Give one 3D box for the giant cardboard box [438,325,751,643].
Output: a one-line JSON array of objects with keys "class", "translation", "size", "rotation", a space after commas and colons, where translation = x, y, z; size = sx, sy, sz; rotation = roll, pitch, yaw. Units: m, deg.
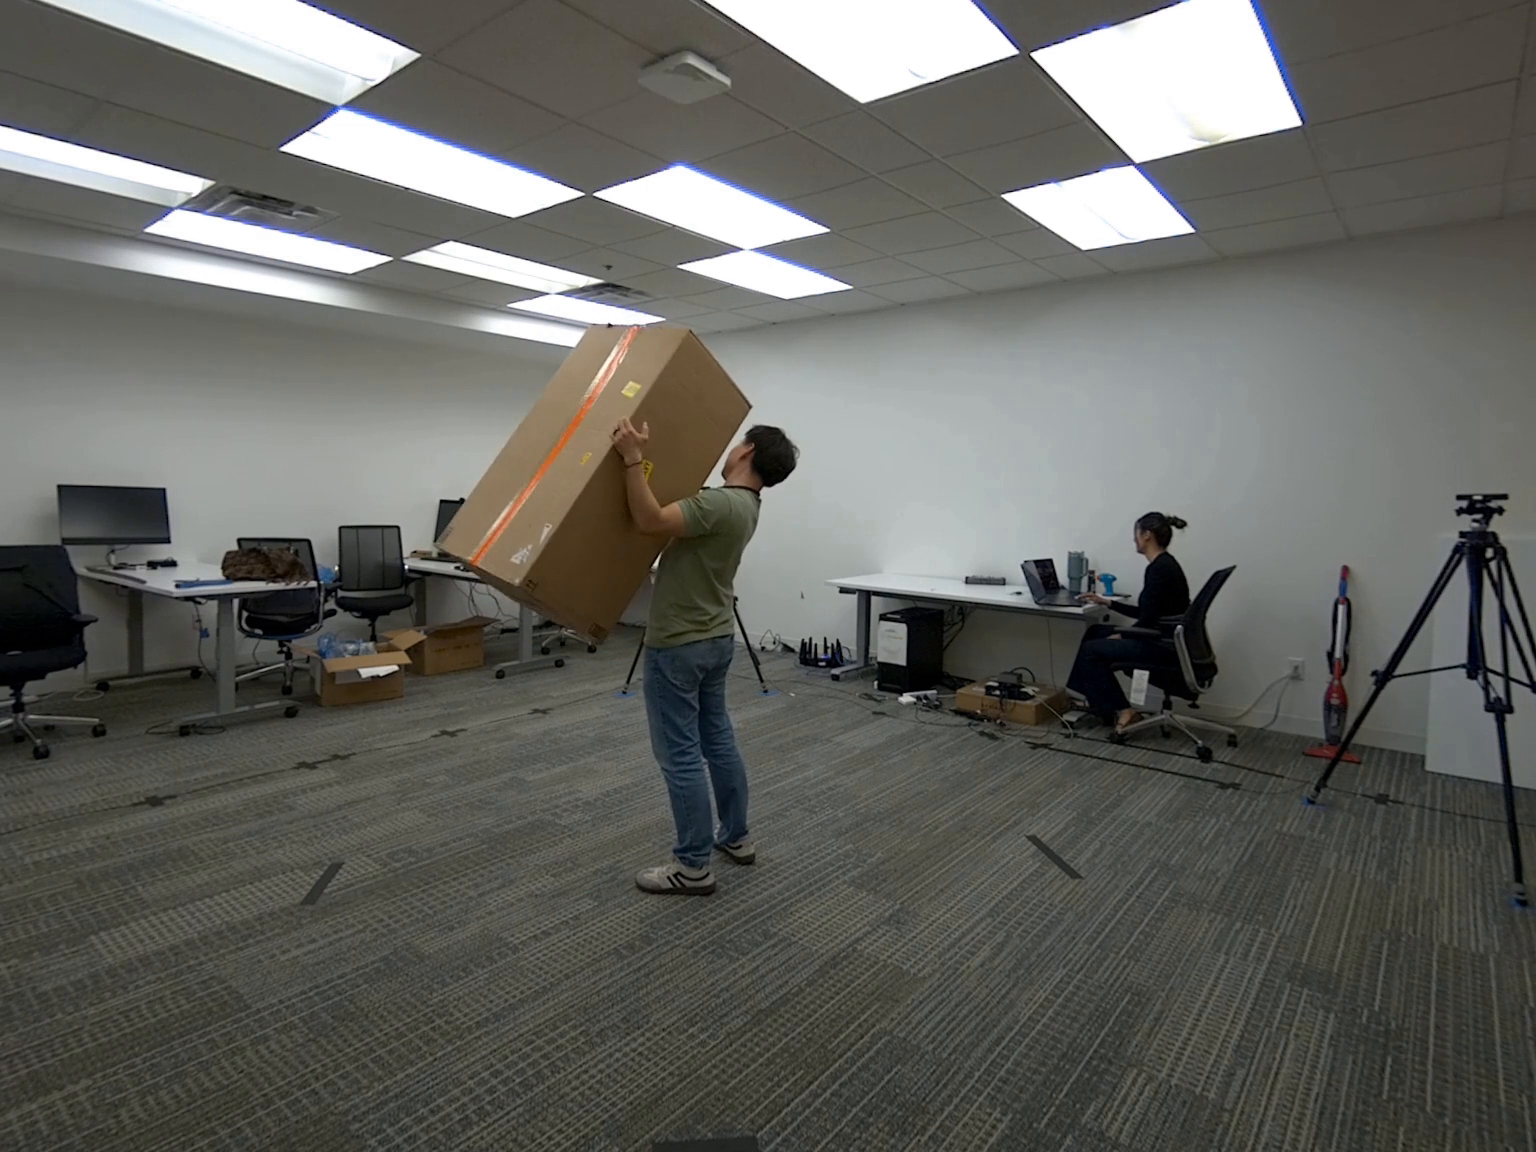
[{"class": "giant cardboard box", "translation": [-0.624, -0.364, 3.041], "size": [0.600, 1.030, 0.408], "rotation": [17, -18, 42]}]
